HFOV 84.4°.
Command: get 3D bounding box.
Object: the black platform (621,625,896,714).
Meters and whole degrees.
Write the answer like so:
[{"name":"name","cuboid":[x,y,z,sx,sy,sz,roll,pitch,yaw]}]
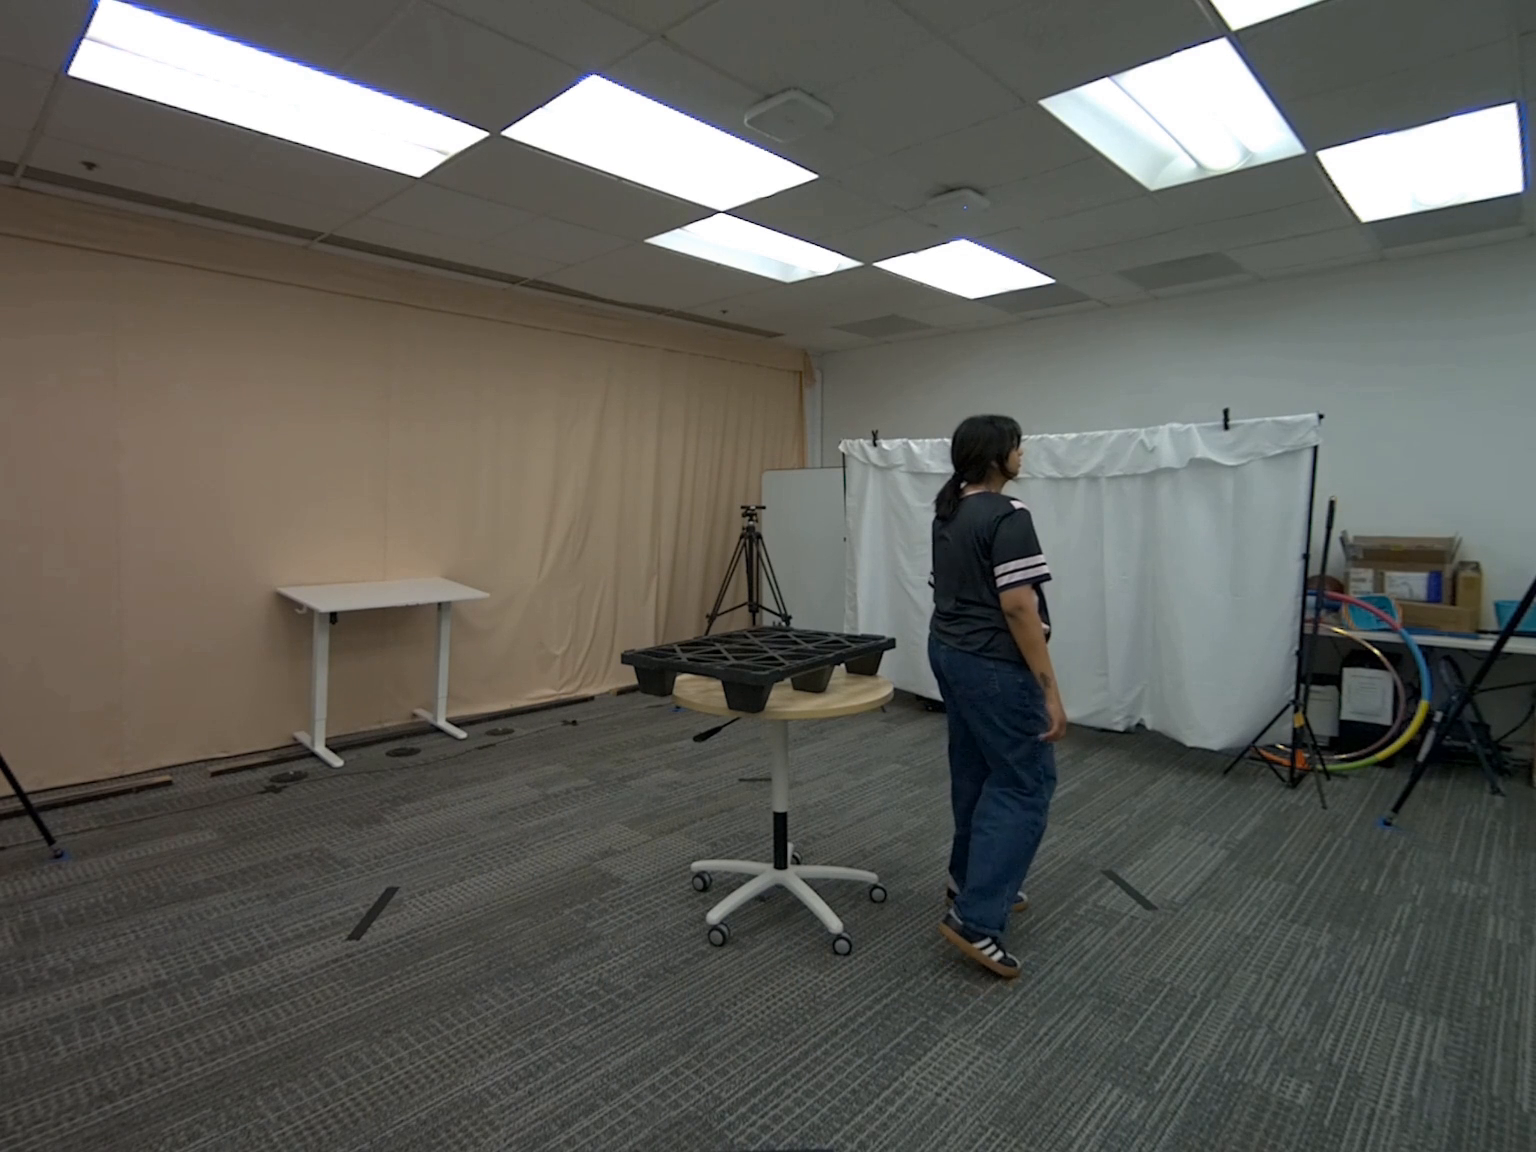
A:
[{"name":"black platform","cuboid":[-0.022,0.307,2.877,0.625,0.143,0.781,2,5,39]}]
